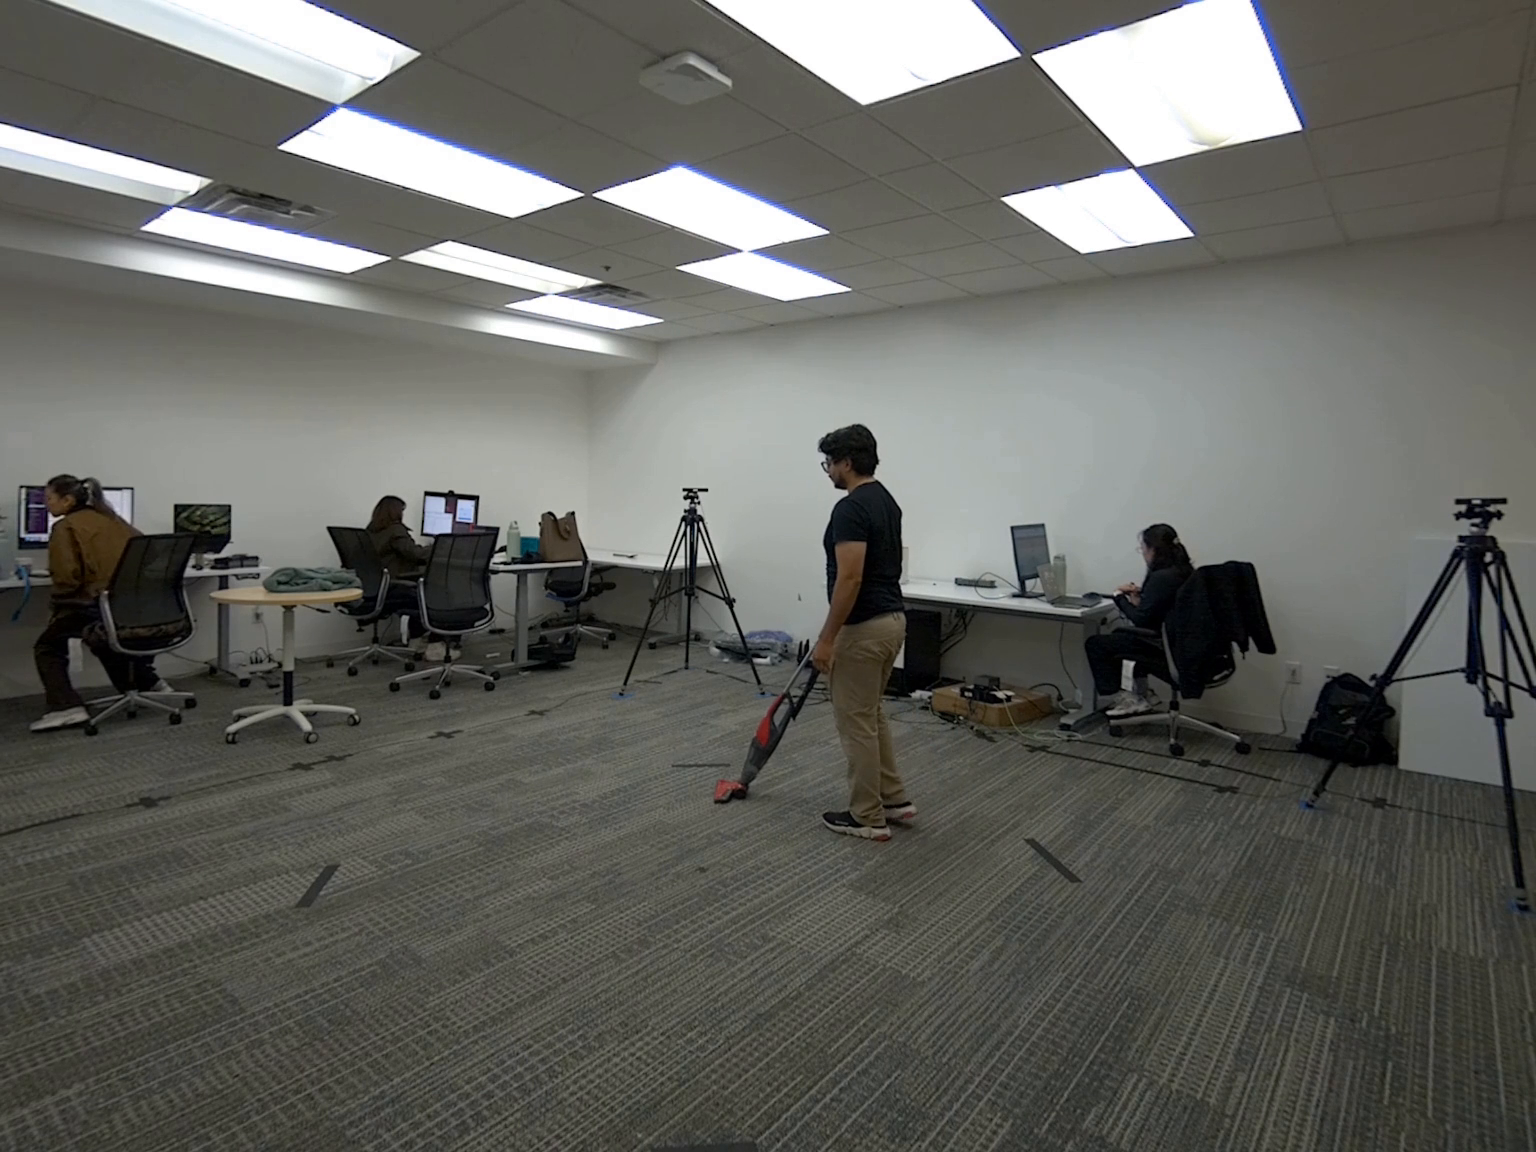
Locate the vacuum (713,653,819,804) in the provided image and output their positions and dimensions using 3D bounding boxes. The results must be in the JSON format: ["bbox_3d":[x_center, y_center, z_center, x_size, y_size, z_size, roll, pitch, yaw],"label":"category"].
[{"bbox_3d":[0.096,0.551,3.859,0.144,1.048,0.252,32,4,0],"label":"vacuum"}]
